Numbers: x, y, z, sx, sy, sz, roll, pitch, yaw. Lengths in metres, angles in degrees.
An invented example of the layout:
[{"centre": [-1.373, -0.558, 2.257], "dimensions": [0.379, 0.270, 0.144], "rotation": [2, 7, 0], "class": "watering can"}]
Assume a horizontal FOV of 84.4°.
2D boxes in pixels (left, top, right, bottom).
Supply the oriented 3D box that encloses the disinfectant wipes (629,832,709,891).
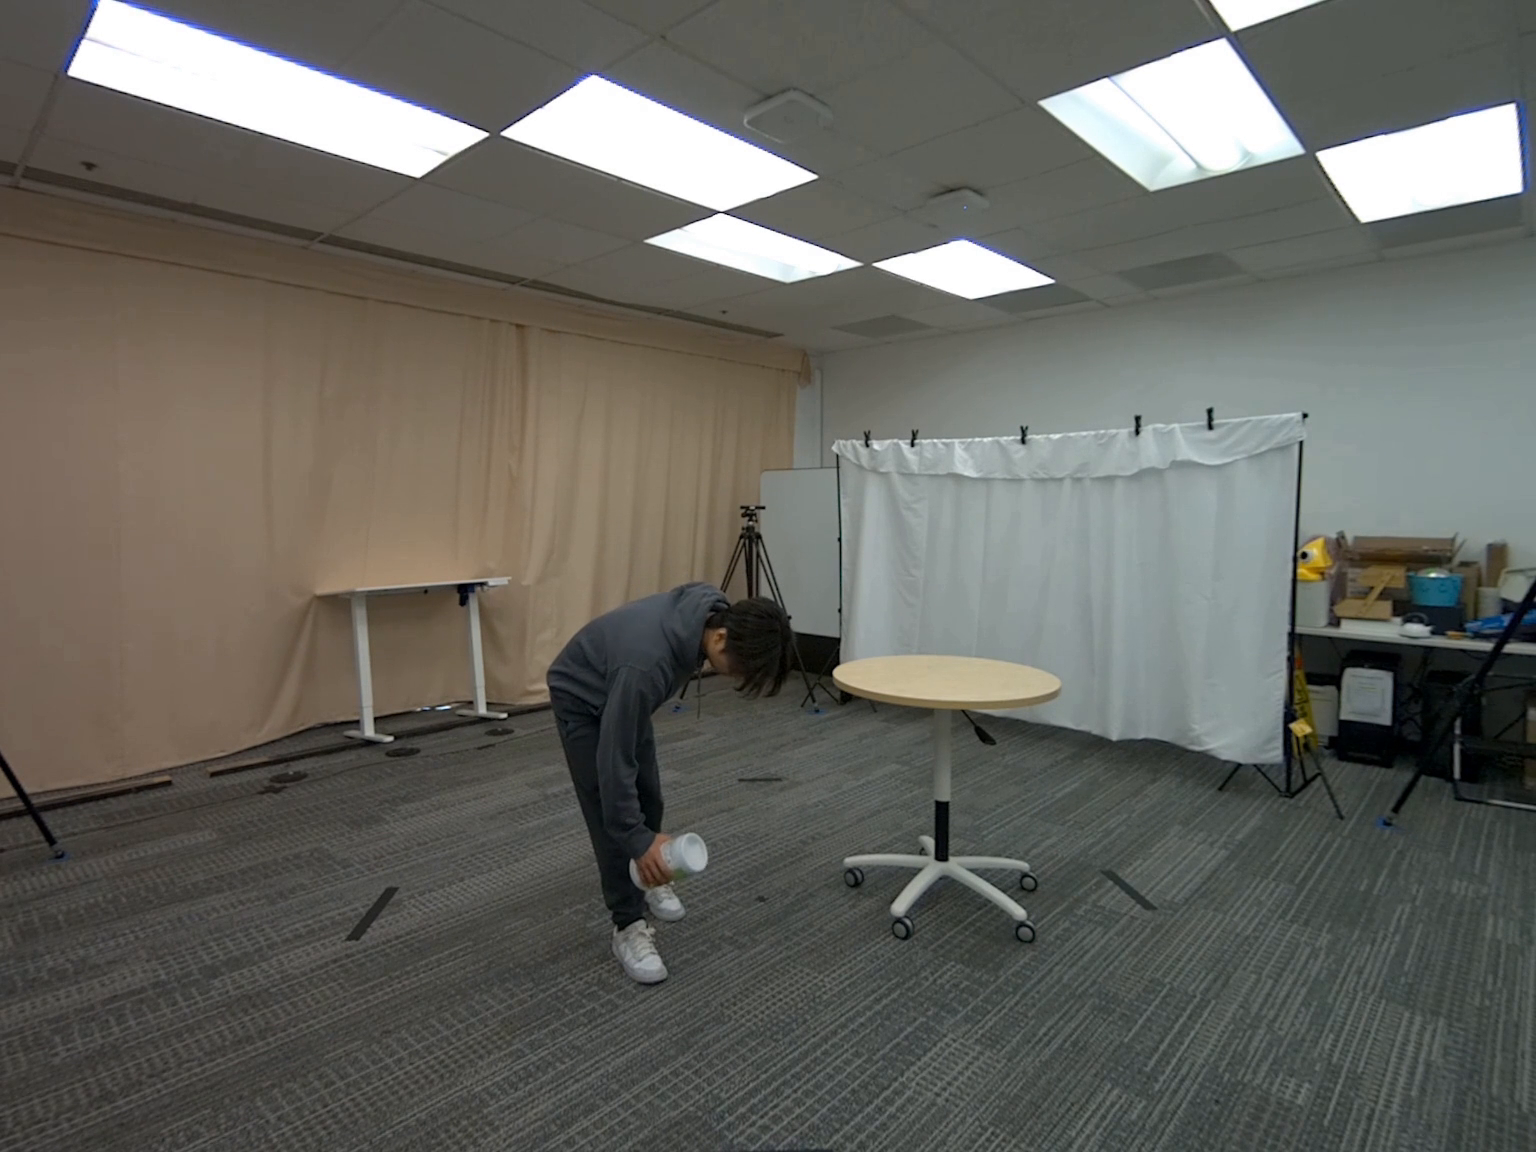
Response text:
[{"centre": [-0.277, 0.812, 2.390], "dimensions": [0.221, 0.119, 0.114], "rotation": [-31, -12, 29], "class": "disinfectant wipes"}]
